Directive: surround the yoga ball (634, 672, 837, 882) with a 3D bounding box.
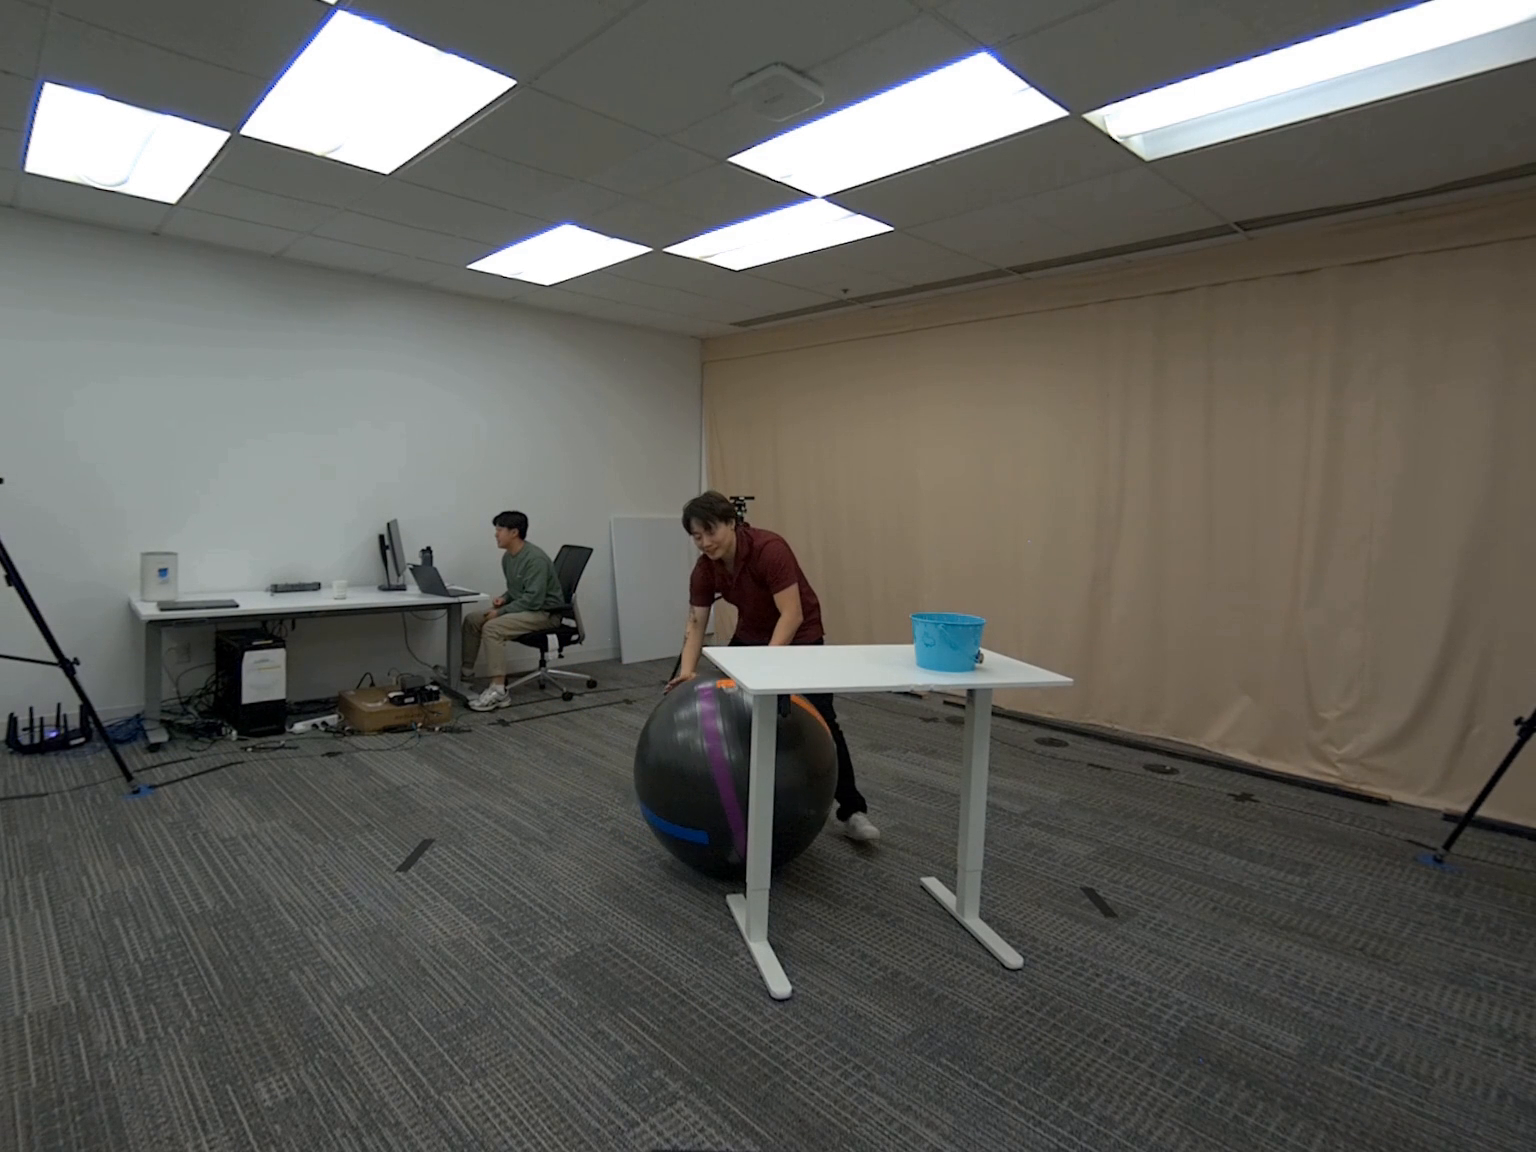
[{"bbox_3d":[-0.127,0.733,3.172,0.757,0.756,0.760,1,4,-1],"label":"yoga ball"}]
